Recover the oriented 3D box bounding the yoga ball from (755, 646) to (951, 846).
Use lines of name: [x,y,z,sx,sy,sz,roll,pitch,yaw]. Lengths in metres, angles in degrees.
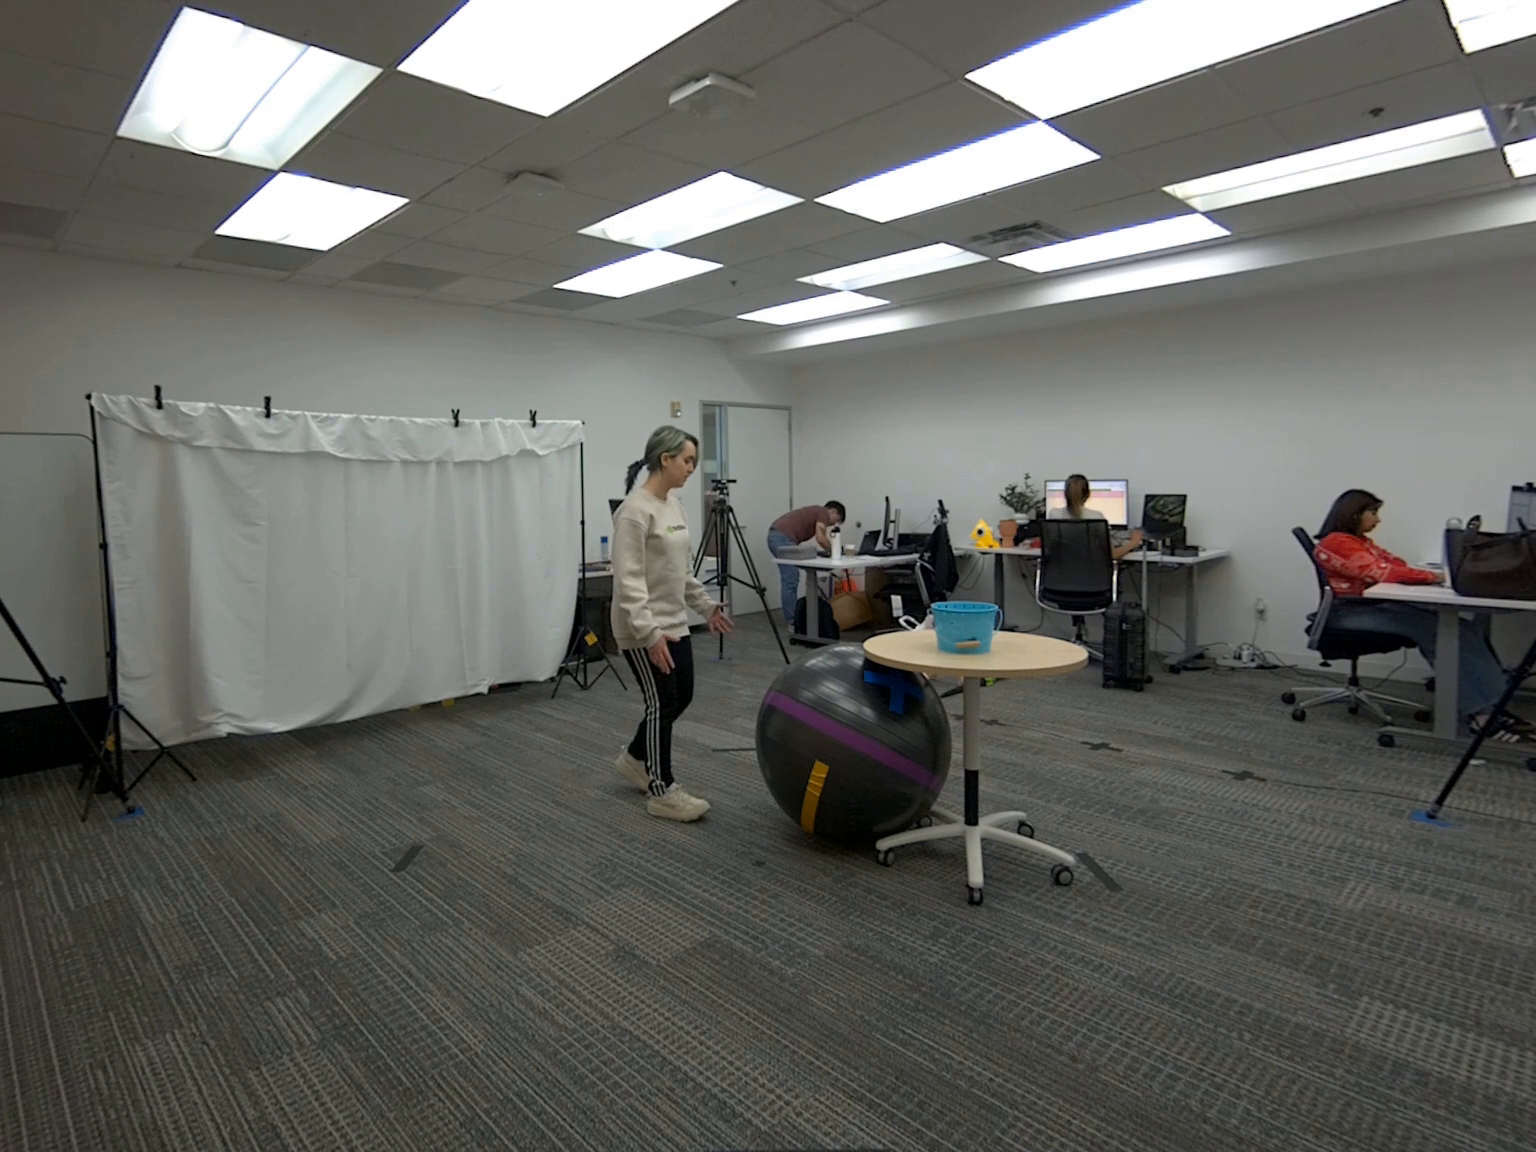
yoga ball: [0.335,0.647,3.343,0.757,0.755,0.762,-1,5,-2]
